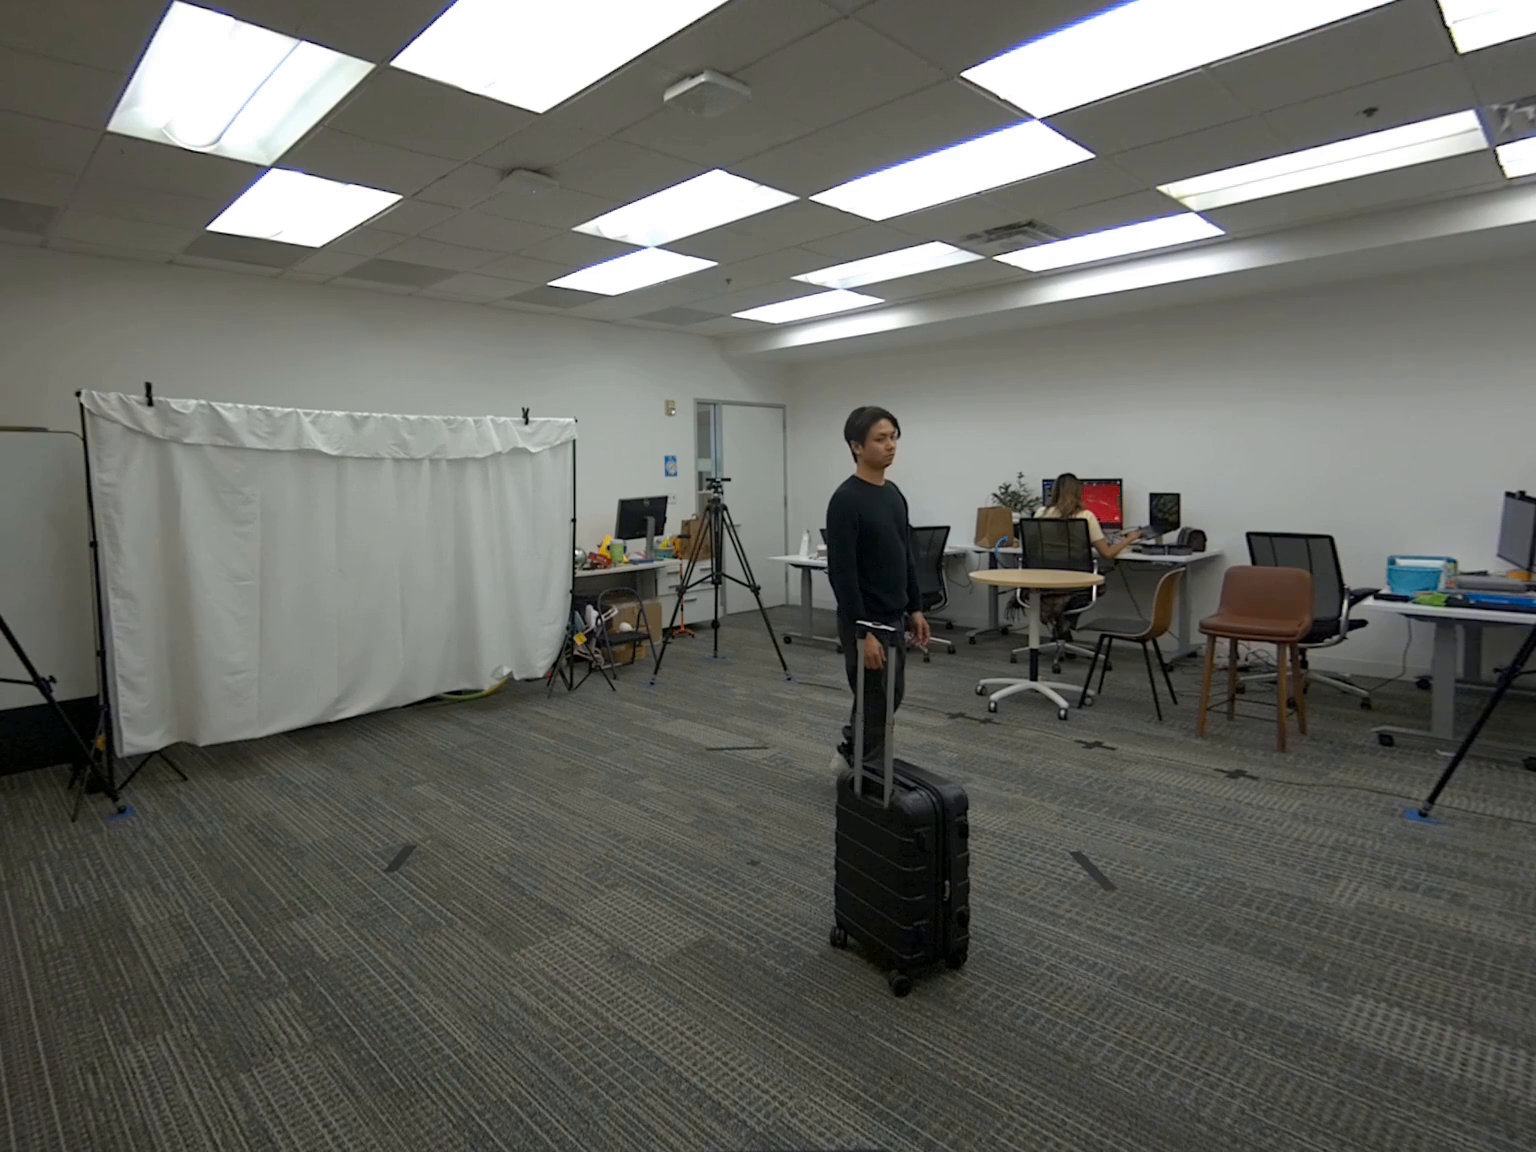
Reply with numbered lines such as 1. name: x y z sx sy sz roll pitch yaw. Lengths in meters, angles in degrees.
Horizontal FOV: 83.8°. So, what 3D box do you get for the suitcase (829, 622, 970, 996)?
1. suitcase: 0.390 0.631 2.467 0.251 0.976 0.394 0 3 -30
